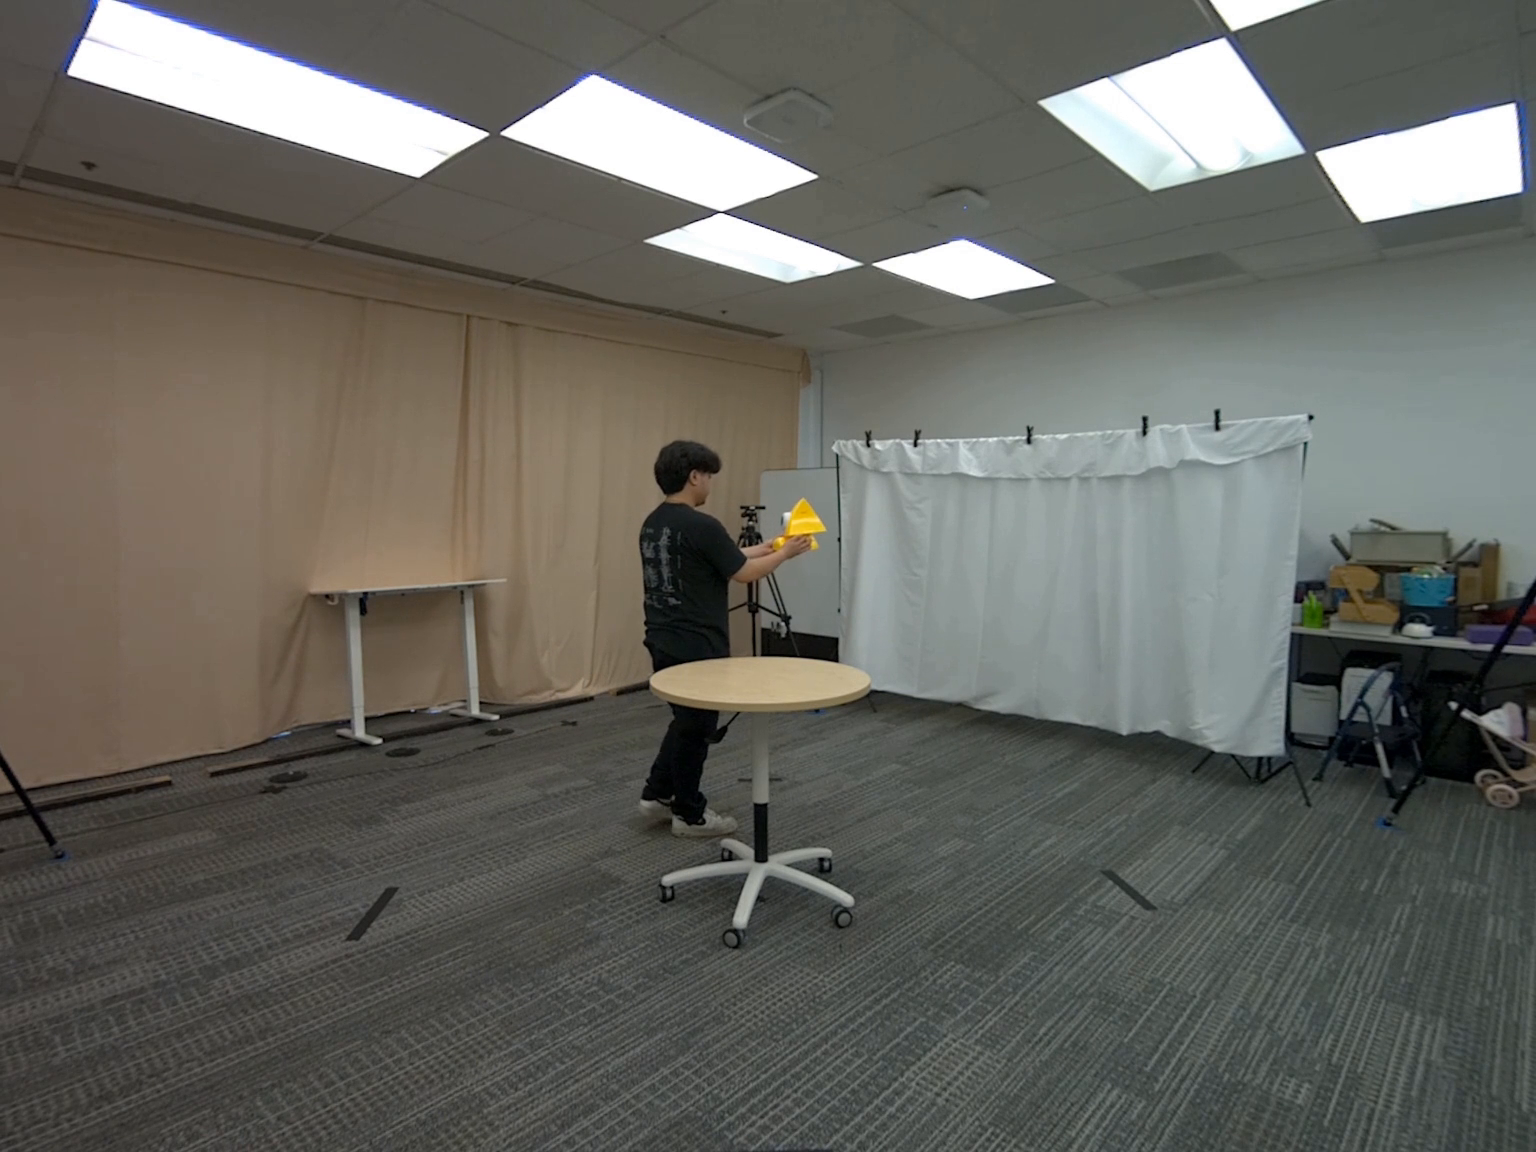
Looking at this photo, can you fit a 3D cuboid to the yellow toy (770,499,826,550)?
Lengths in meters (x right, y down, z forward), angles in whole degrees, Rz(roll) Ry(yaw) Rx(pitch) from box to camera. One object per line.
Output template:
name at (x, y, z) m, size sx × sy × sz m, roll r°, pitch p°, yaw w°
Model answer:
yellow toy at (0.124, -0.235, 3.740) m, size 0.199 × 0.229 × 0.199 m, roll -8°, pitch 11°, yaw -33°
